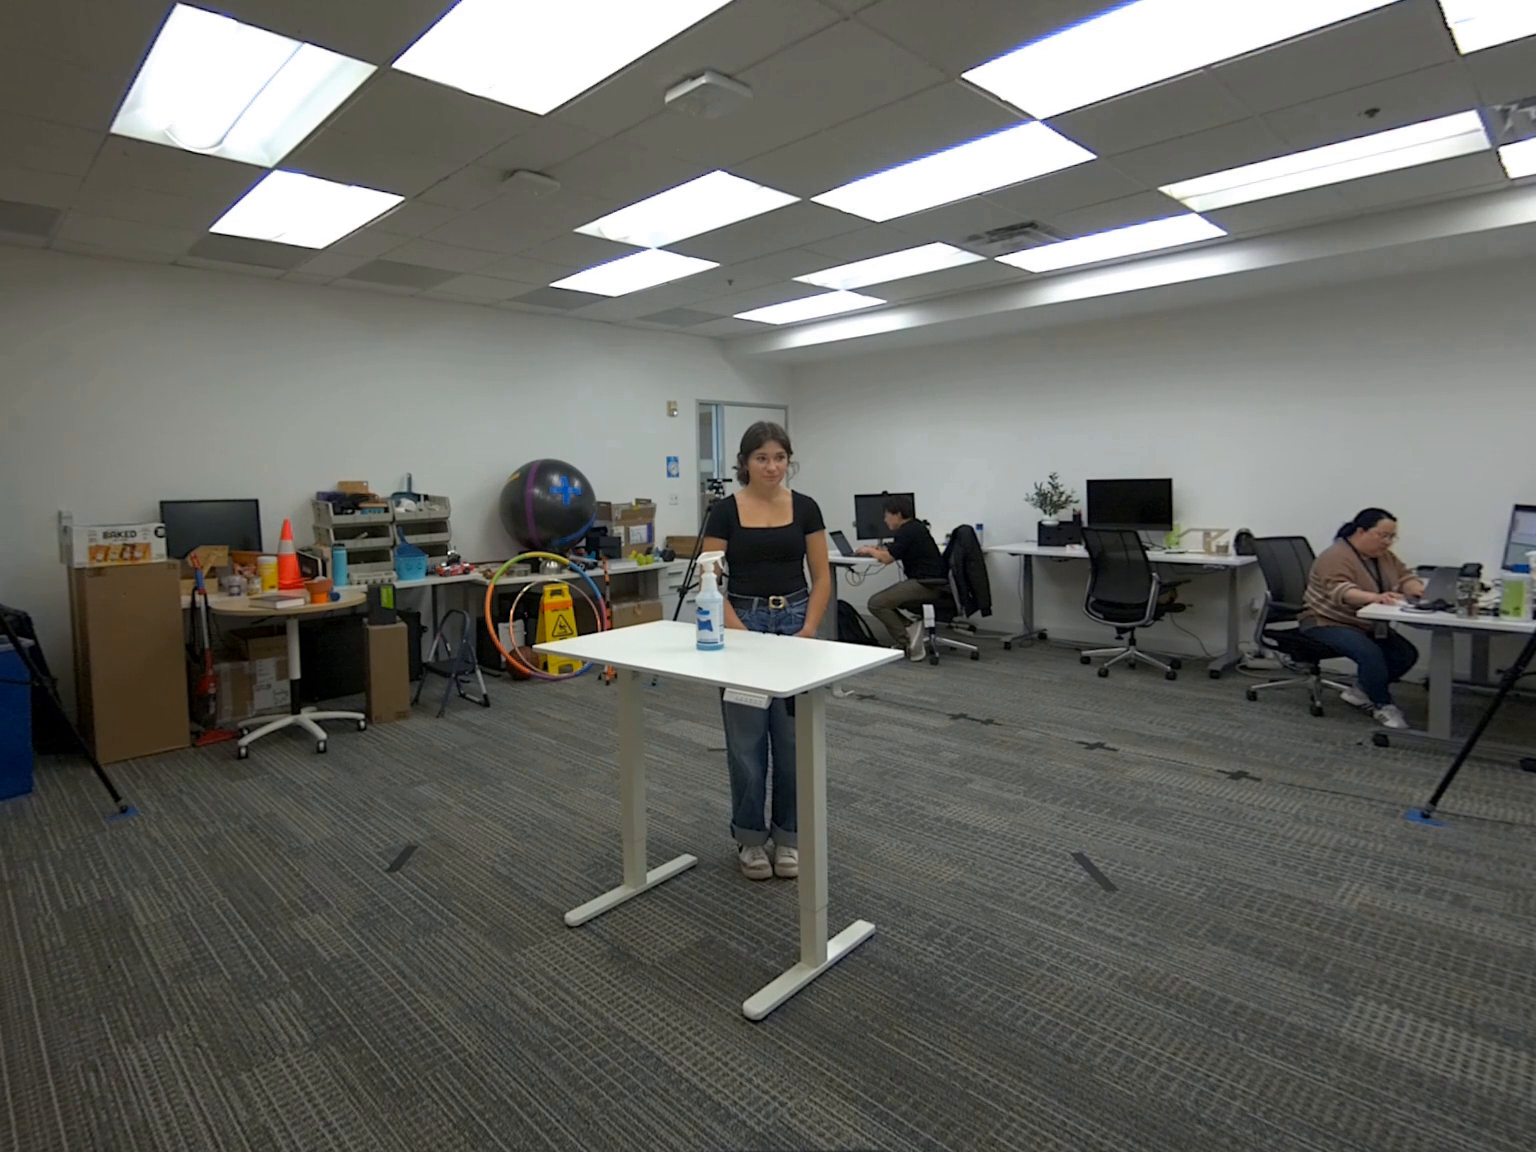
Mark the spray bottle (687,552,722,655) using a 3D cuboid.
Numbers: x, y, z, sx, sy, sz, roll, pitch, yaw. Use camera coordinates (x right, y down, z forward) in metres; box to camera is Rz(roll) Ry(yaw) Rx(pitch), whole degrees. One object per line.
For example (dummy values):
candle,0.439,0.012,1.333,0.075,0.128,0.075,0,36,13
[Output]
spray bottle,-0.194,0.080,2.613,0.090,0.296,0.087,-2,3,0
